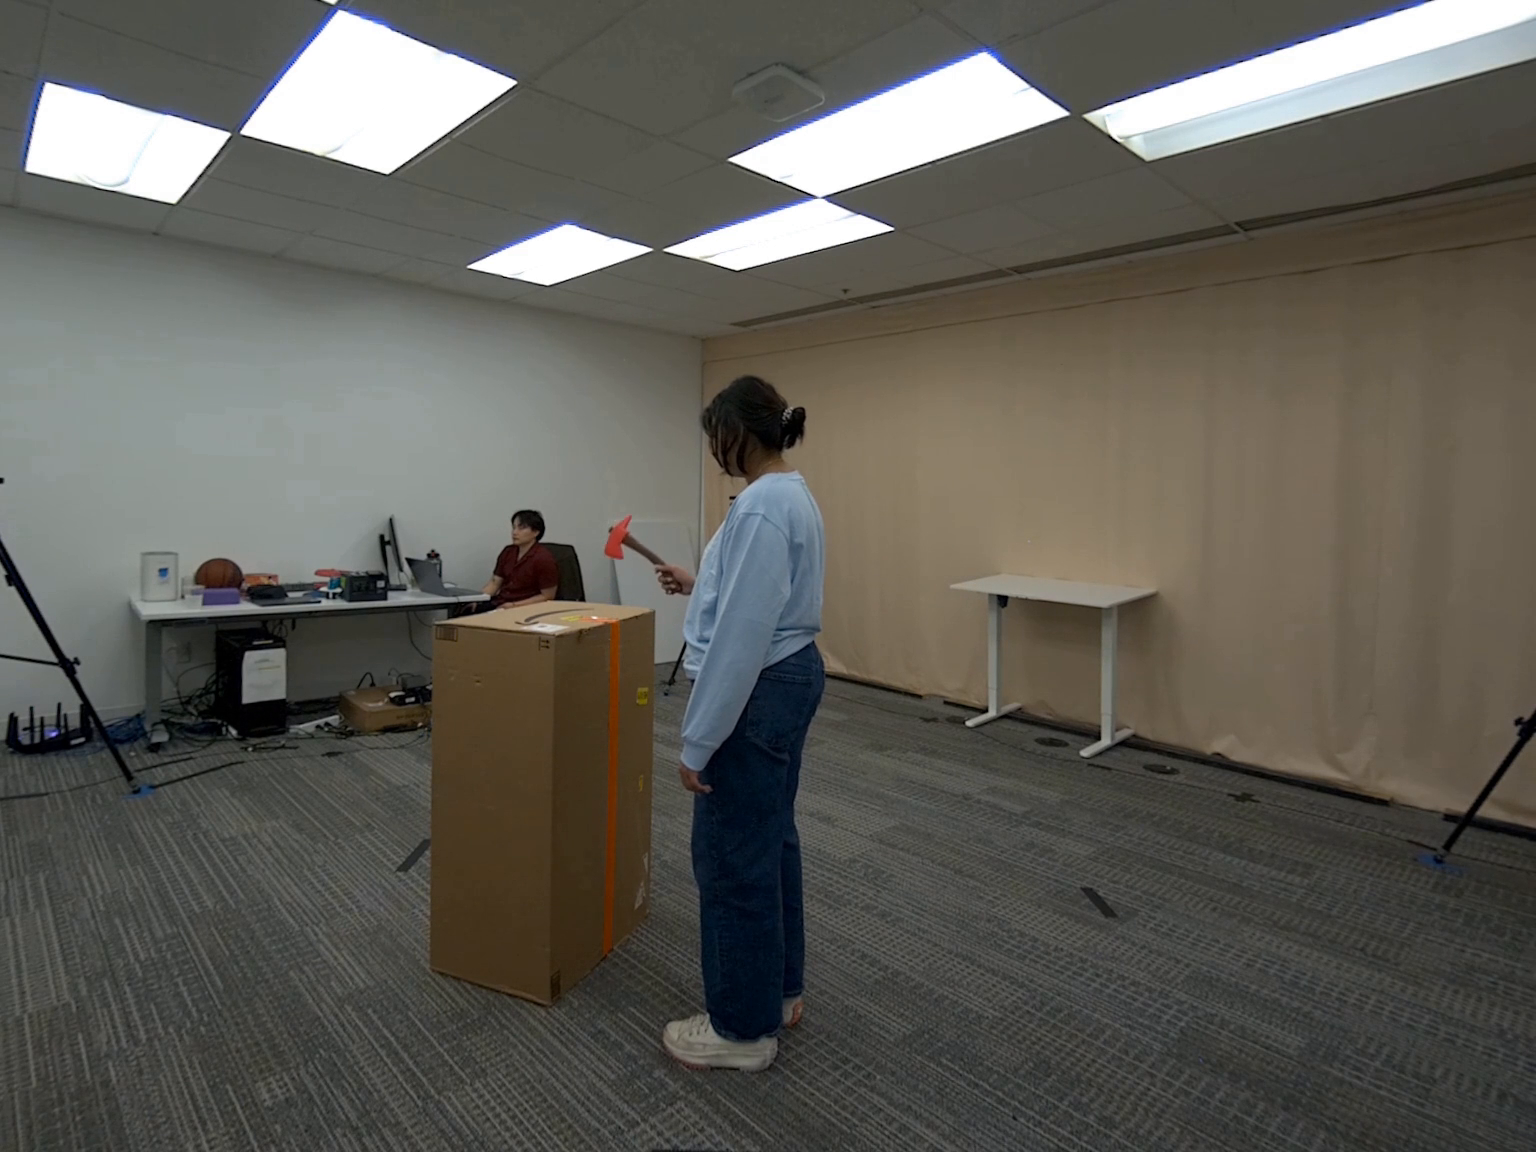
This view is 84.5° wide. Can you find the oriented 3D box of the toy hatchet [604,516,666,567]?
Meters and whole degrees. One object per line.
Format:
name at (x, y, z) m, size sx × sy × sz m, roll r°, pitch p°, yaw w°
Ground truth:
toy hatchet at (-0.374, -0.036, 2.400) m, size 0.131 × 0.272 × 0.029 m, roll -38°, pitch -8°, yaw 3°
